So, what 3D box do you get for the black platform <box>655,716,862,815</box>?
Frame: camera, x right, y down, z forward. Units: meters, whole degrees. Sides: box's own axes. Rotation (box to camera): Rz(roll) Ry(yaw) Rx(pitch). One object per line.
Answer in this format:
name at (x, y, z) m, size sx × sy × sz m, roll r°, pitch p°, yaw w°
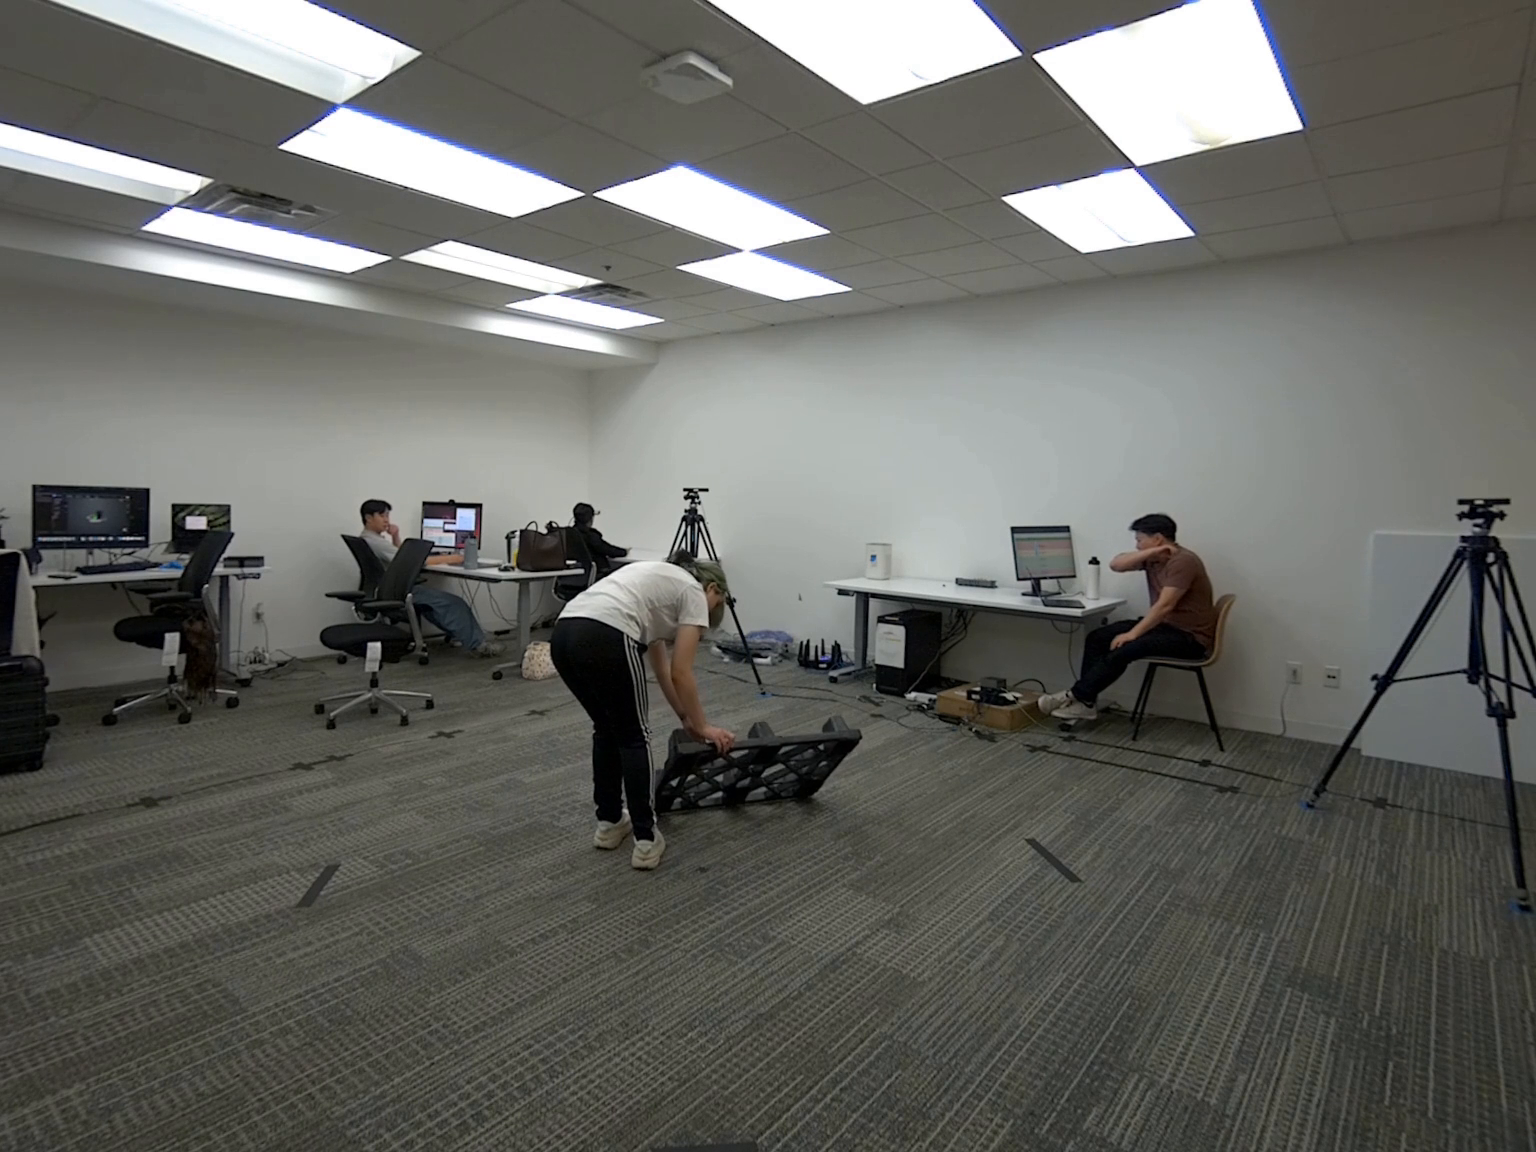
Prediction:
black platform at (-0.085, 0.784, 3.564) m, size 0.789 × 0.148 × 0.597 m, roll 0°, pitch -36°, yaw -21°
